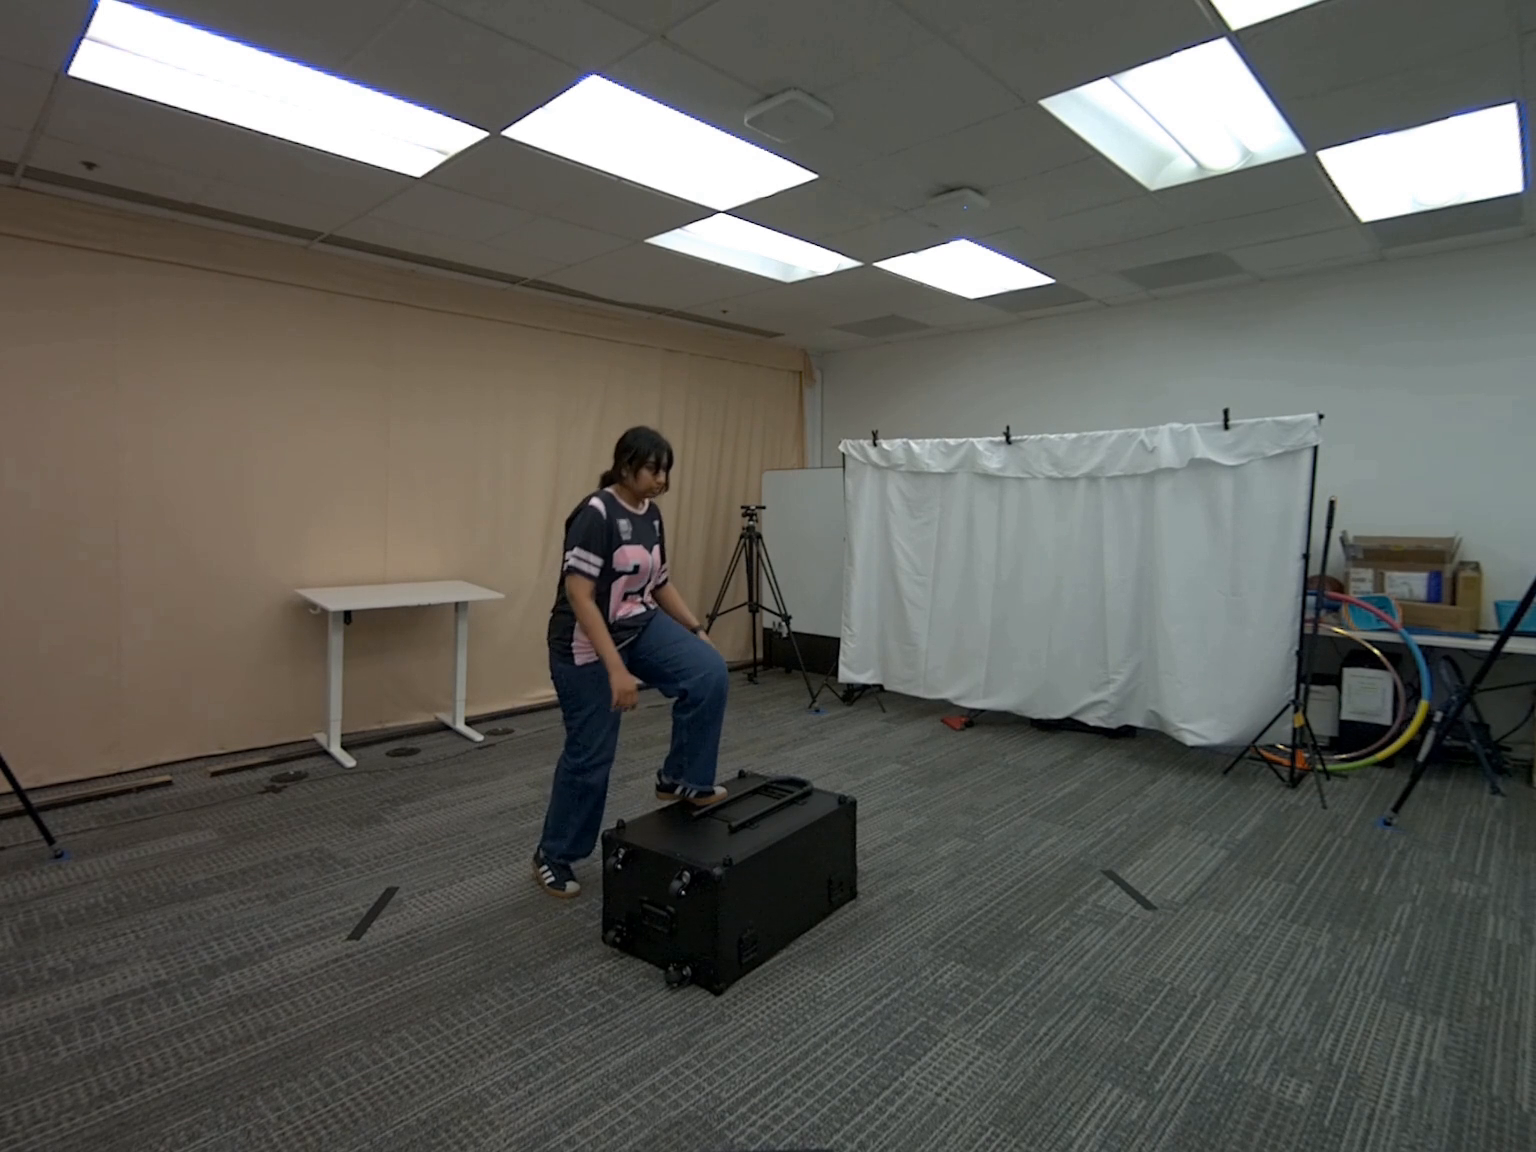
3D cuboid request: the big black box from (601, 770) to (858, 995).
[{"bbox_3d":[-0.120,0.976,2.798,0.540,0.384,0.843,5,7,37],"label":"big black box"}]
